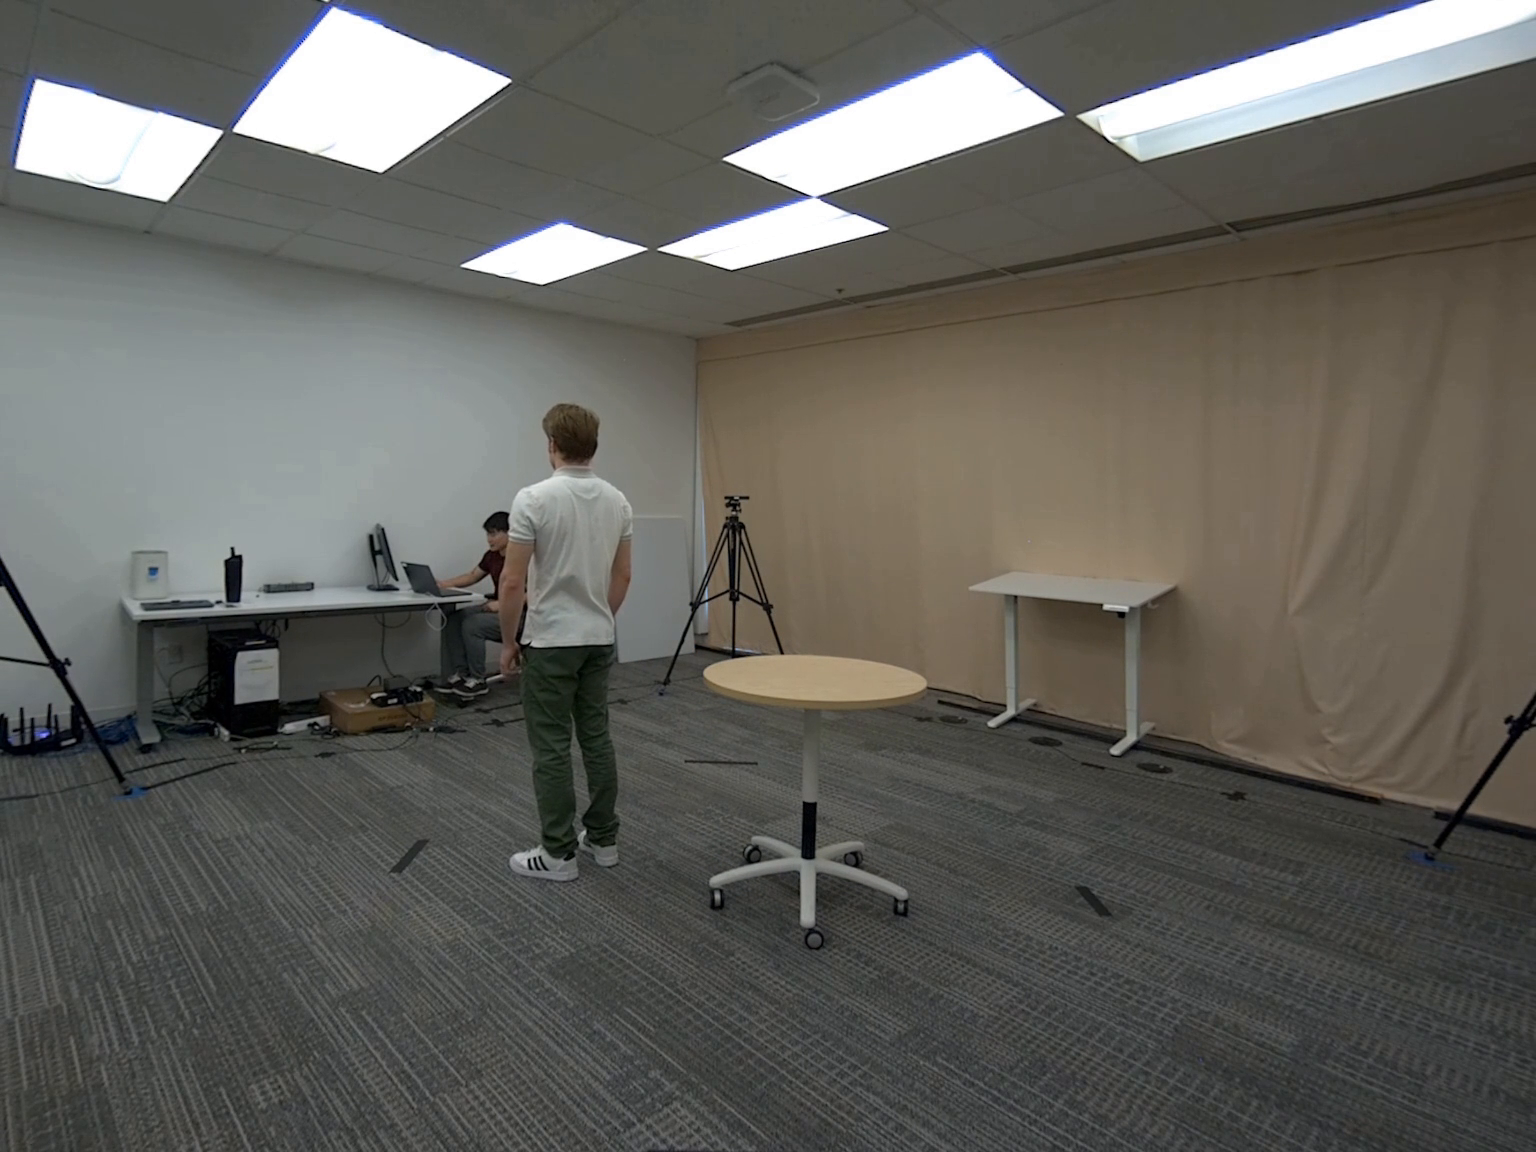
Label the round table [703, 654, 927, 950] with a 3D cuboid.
[{"bbox_3d":[0.144,0.737,2.927,0.763,0.792,0.766,1,4,-1],"label":"round table"}]
